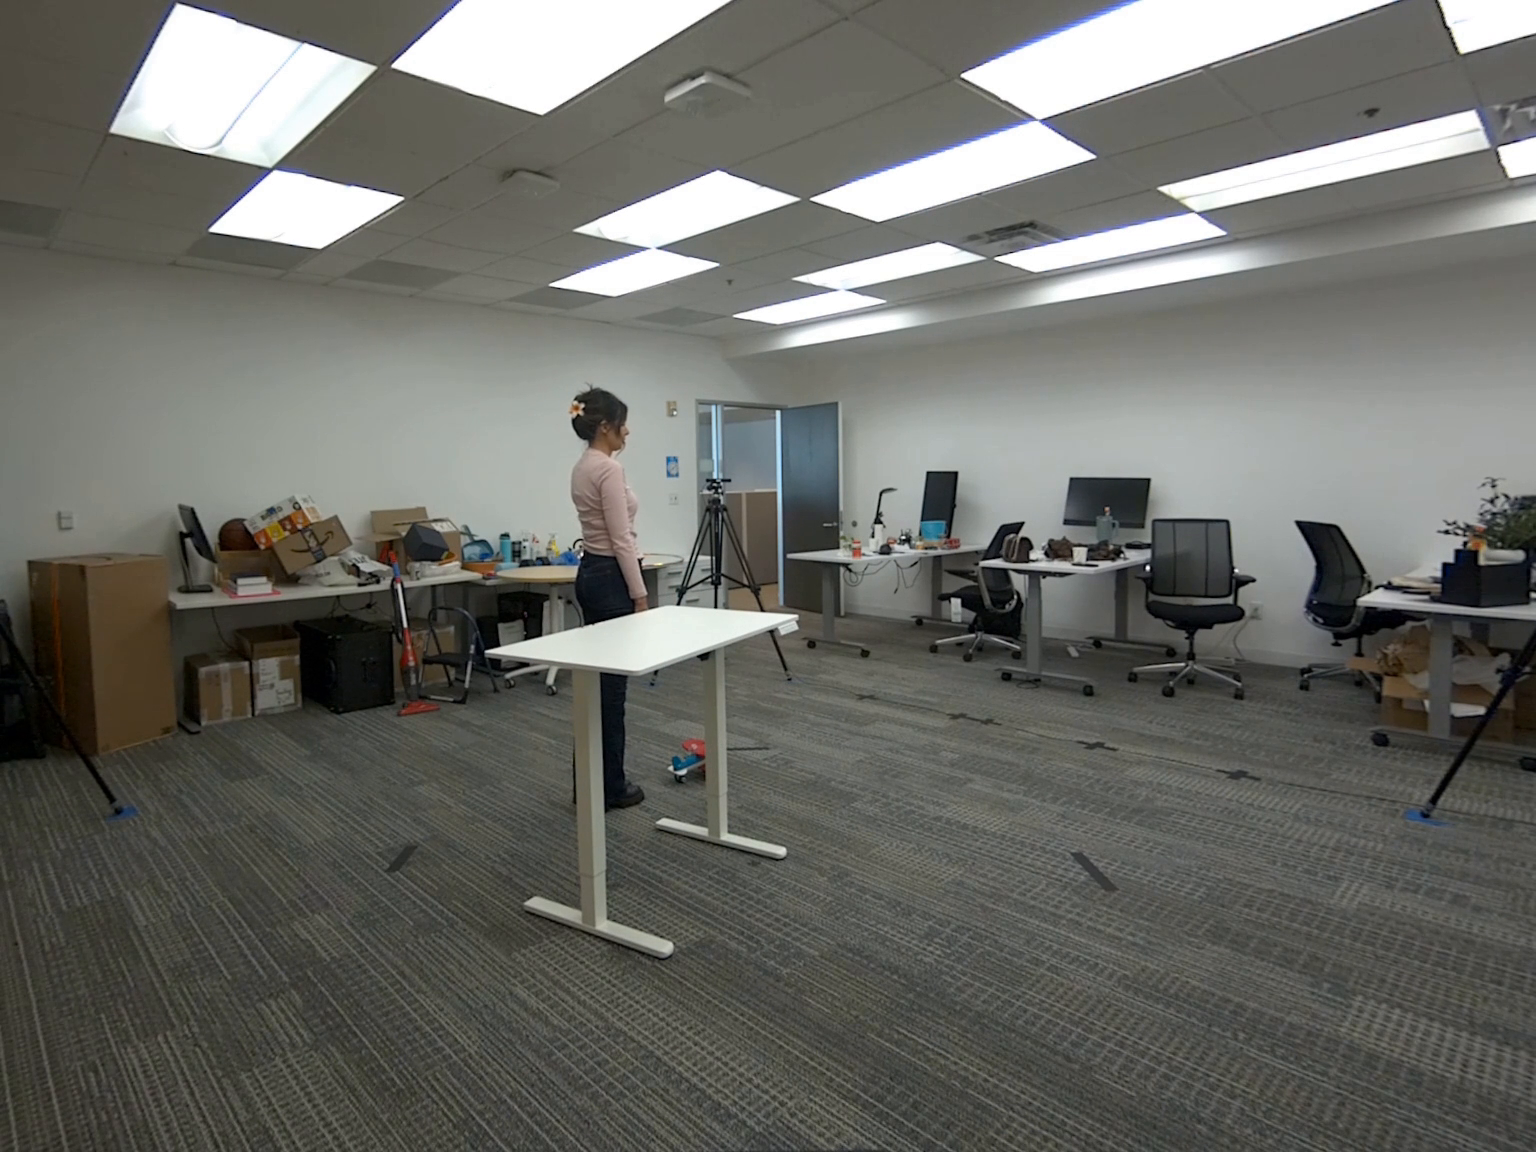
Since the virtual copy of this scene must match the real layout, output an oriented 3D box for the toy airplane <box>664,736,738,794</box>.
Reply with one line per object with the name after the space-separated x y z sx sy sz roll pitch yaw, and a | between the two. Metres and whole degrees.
-0.315 0.878 4.014 0.257 0.156 0.254 2 6 23 | toy airplane
